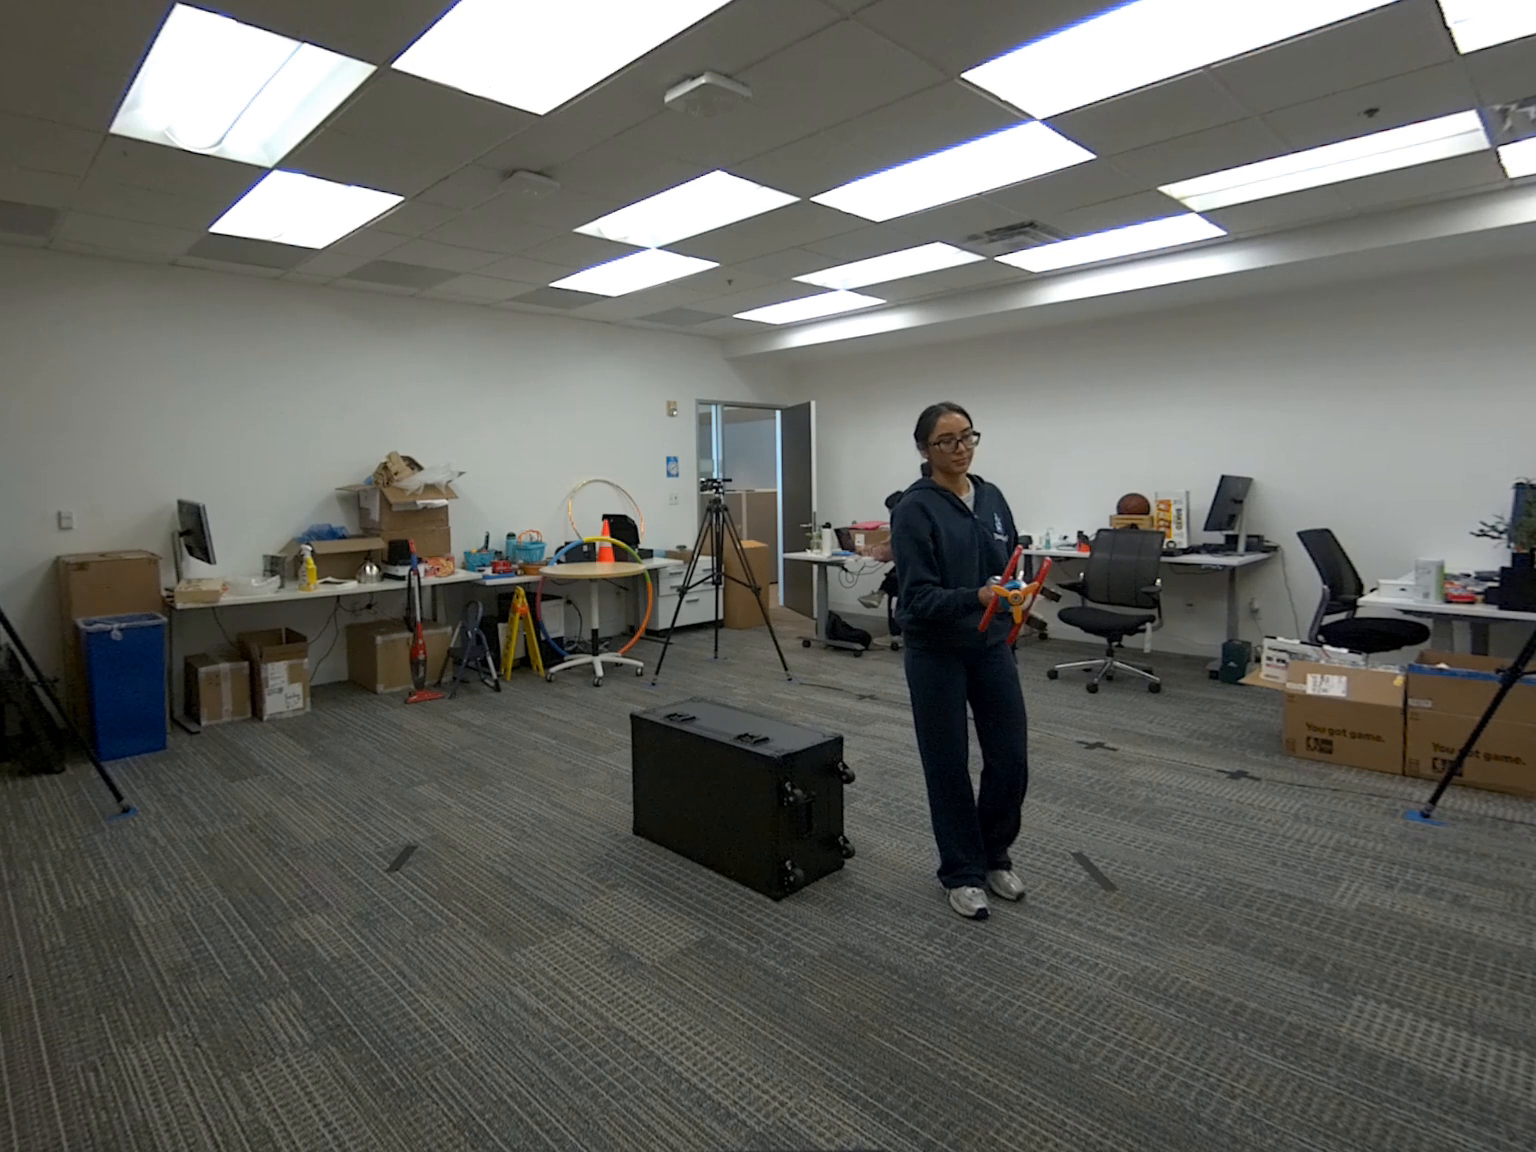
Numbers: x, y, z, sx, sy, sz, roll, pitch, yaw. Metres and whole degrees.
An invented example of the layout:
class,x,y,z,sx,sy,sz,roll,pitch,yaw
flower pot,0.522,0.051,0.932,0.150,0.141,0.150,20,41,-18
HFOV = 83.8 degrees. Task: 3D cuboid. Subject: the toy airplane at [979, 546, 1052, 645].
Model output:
class,x,y,z,sx,sy,sz,roll,pitch,yaw
toy airplane,0.678,0.072,2.340,0.156,0.254,0.257,20,-25,-6
